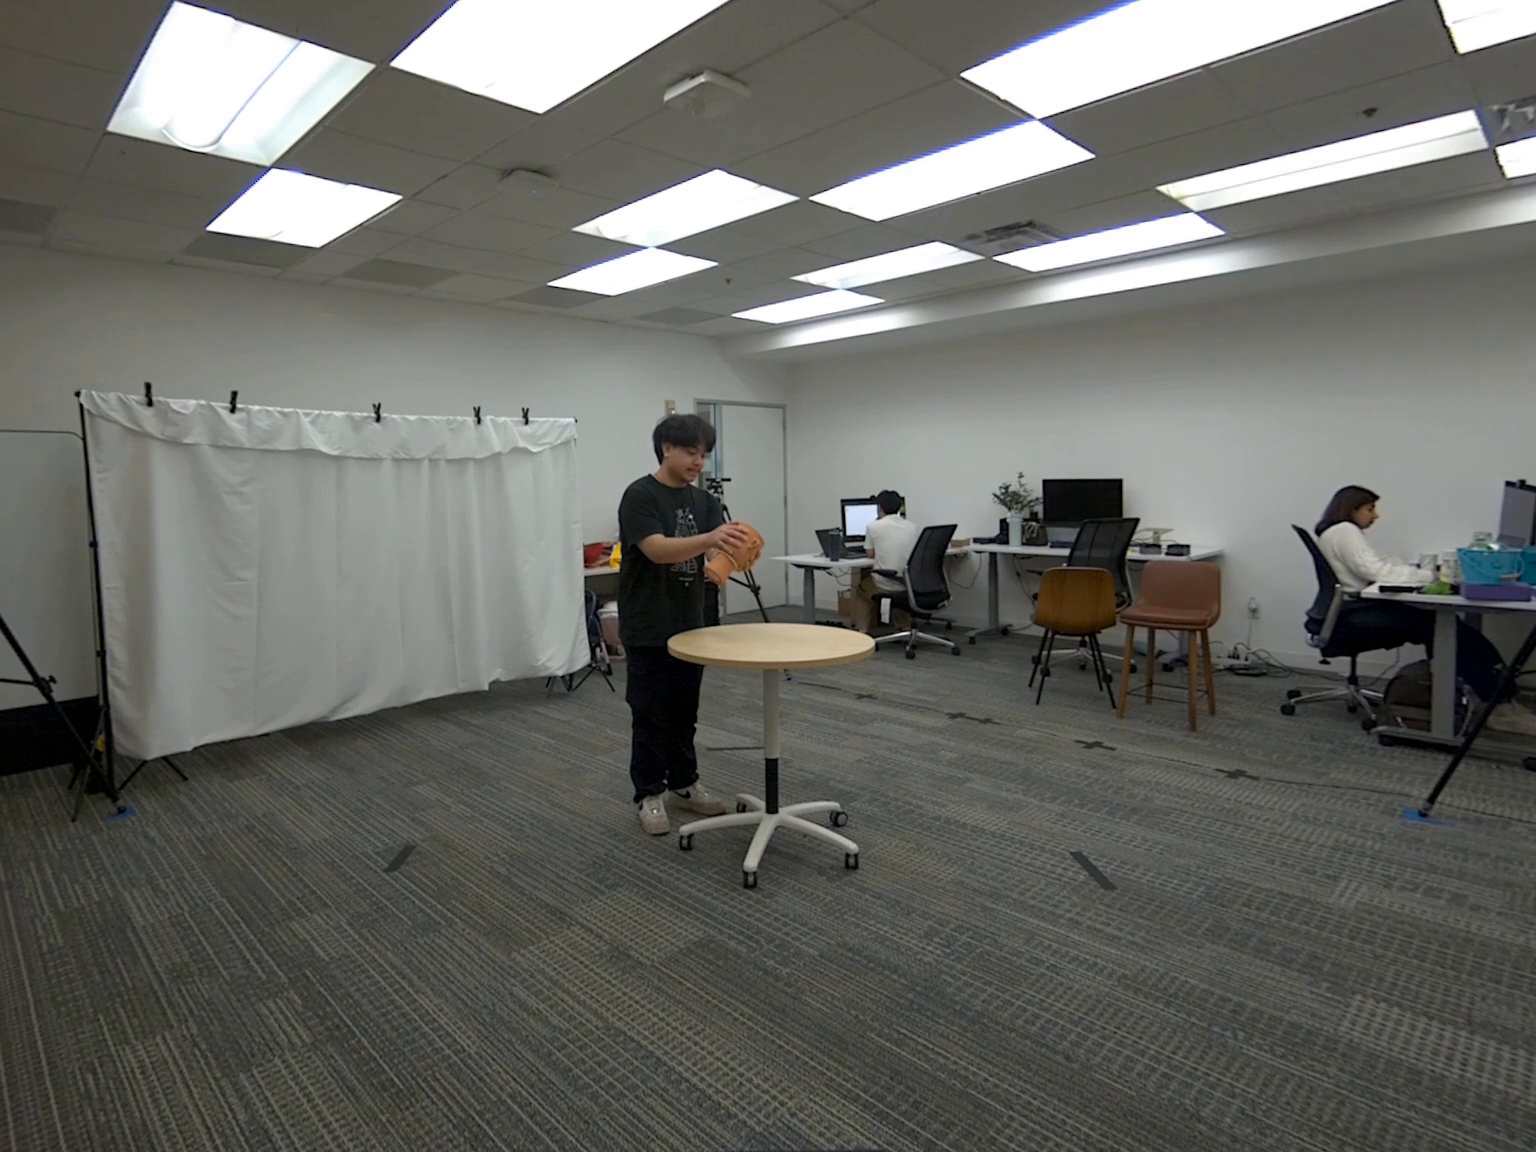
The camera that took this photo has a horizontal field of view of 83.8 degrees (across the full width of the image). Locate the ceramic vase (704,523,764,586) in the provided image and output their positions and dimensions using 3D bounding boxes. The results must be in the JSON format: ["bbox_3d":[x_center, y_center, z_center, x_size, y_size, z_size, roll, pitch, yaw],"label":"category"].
[{"bbox_3d":[-0.132,-0.076,3.116,0.137,0.220,0.156,37,-21,11],"label":"ceramic vase"}]
